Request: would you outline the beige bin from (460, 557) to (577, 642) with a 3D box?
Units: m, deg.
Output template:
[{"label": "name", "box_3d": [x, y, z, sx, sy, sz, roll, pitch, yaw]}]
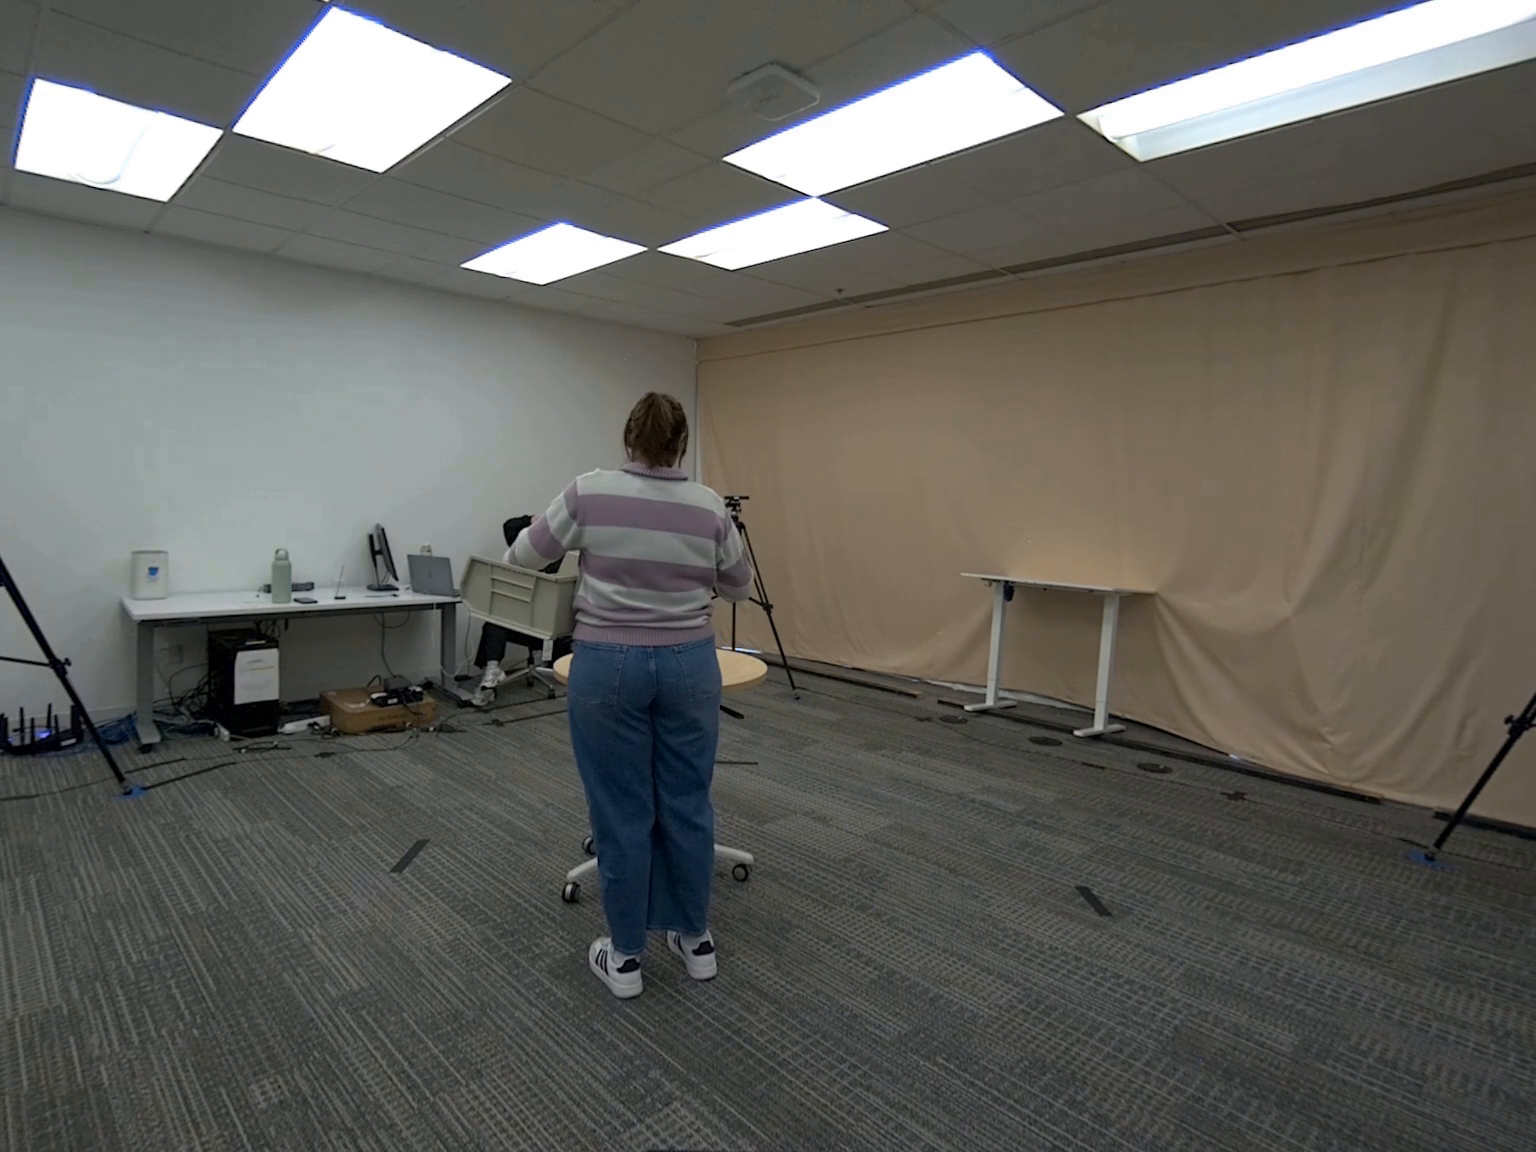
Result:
[{"label": "beige bin", "box_3d": [-0.637, 0.046, 2.532, 0.386, 0.188, 0.414, 13, 10, 28]}]
